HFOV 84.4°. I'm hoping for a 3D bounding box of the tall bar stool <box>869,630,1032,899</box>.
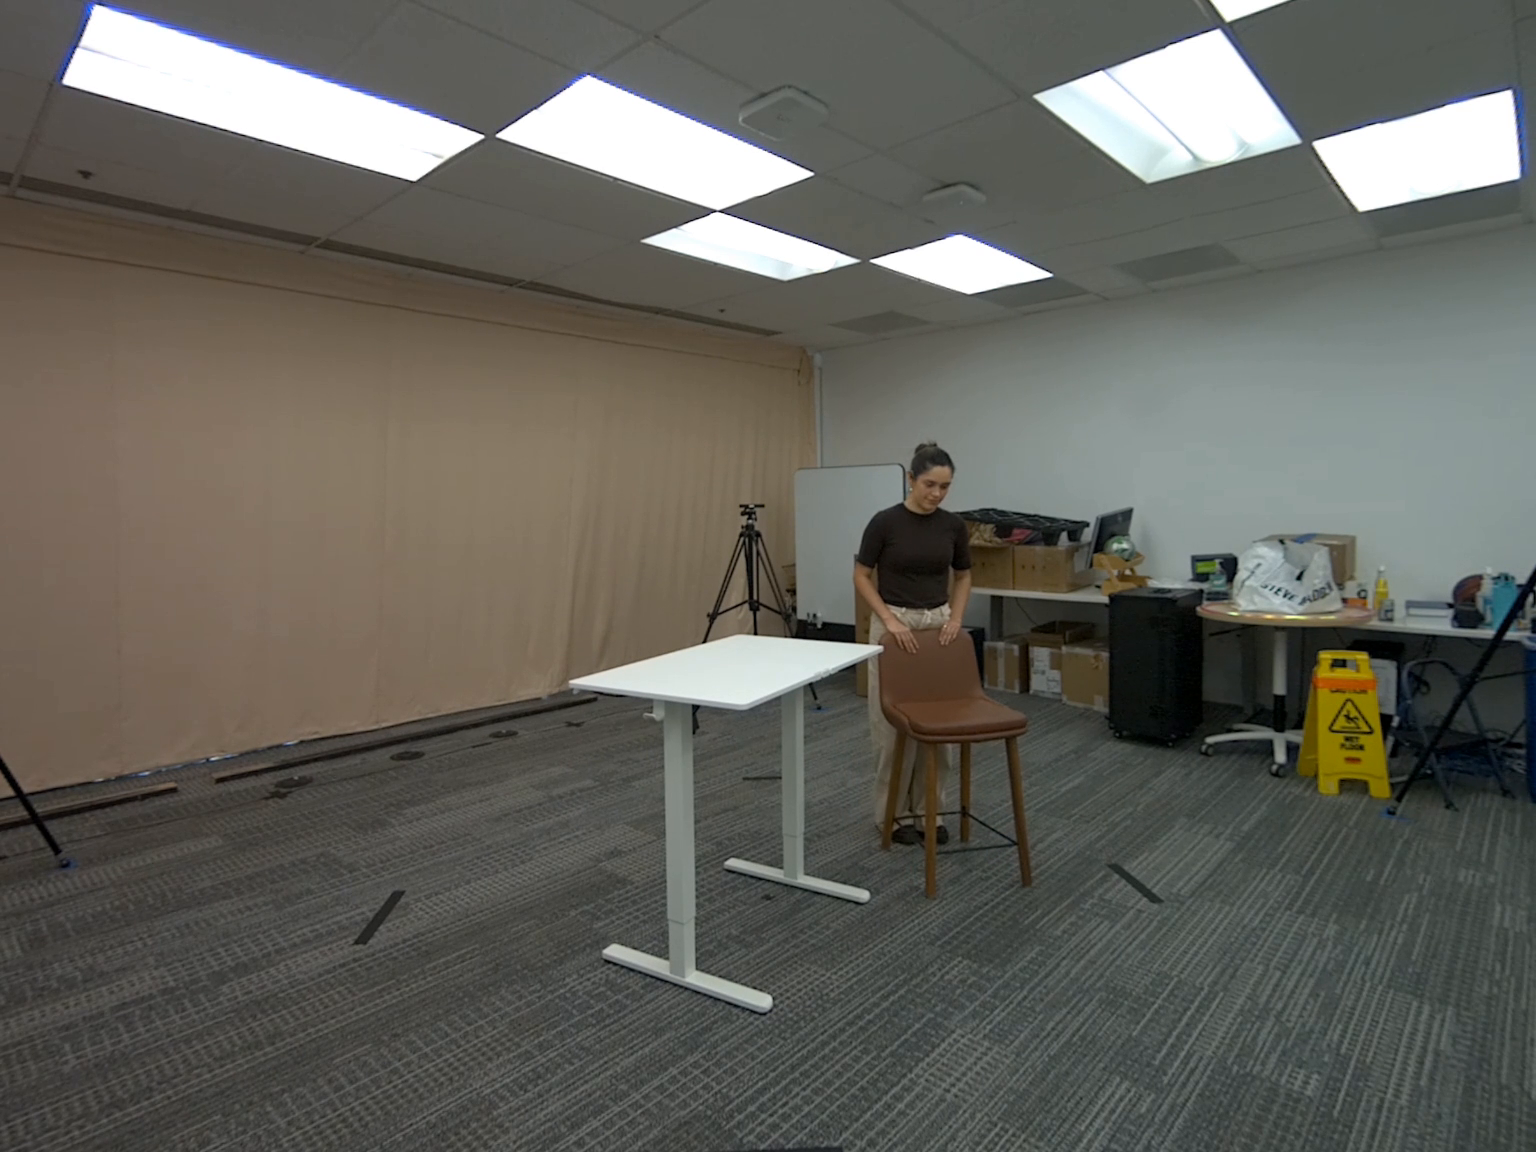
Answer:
[{"bbox_3d":[0.692,0.672,3.191,0.450,0.889,0.474,-1,1,-14],"label":"tall bar stool"}]
